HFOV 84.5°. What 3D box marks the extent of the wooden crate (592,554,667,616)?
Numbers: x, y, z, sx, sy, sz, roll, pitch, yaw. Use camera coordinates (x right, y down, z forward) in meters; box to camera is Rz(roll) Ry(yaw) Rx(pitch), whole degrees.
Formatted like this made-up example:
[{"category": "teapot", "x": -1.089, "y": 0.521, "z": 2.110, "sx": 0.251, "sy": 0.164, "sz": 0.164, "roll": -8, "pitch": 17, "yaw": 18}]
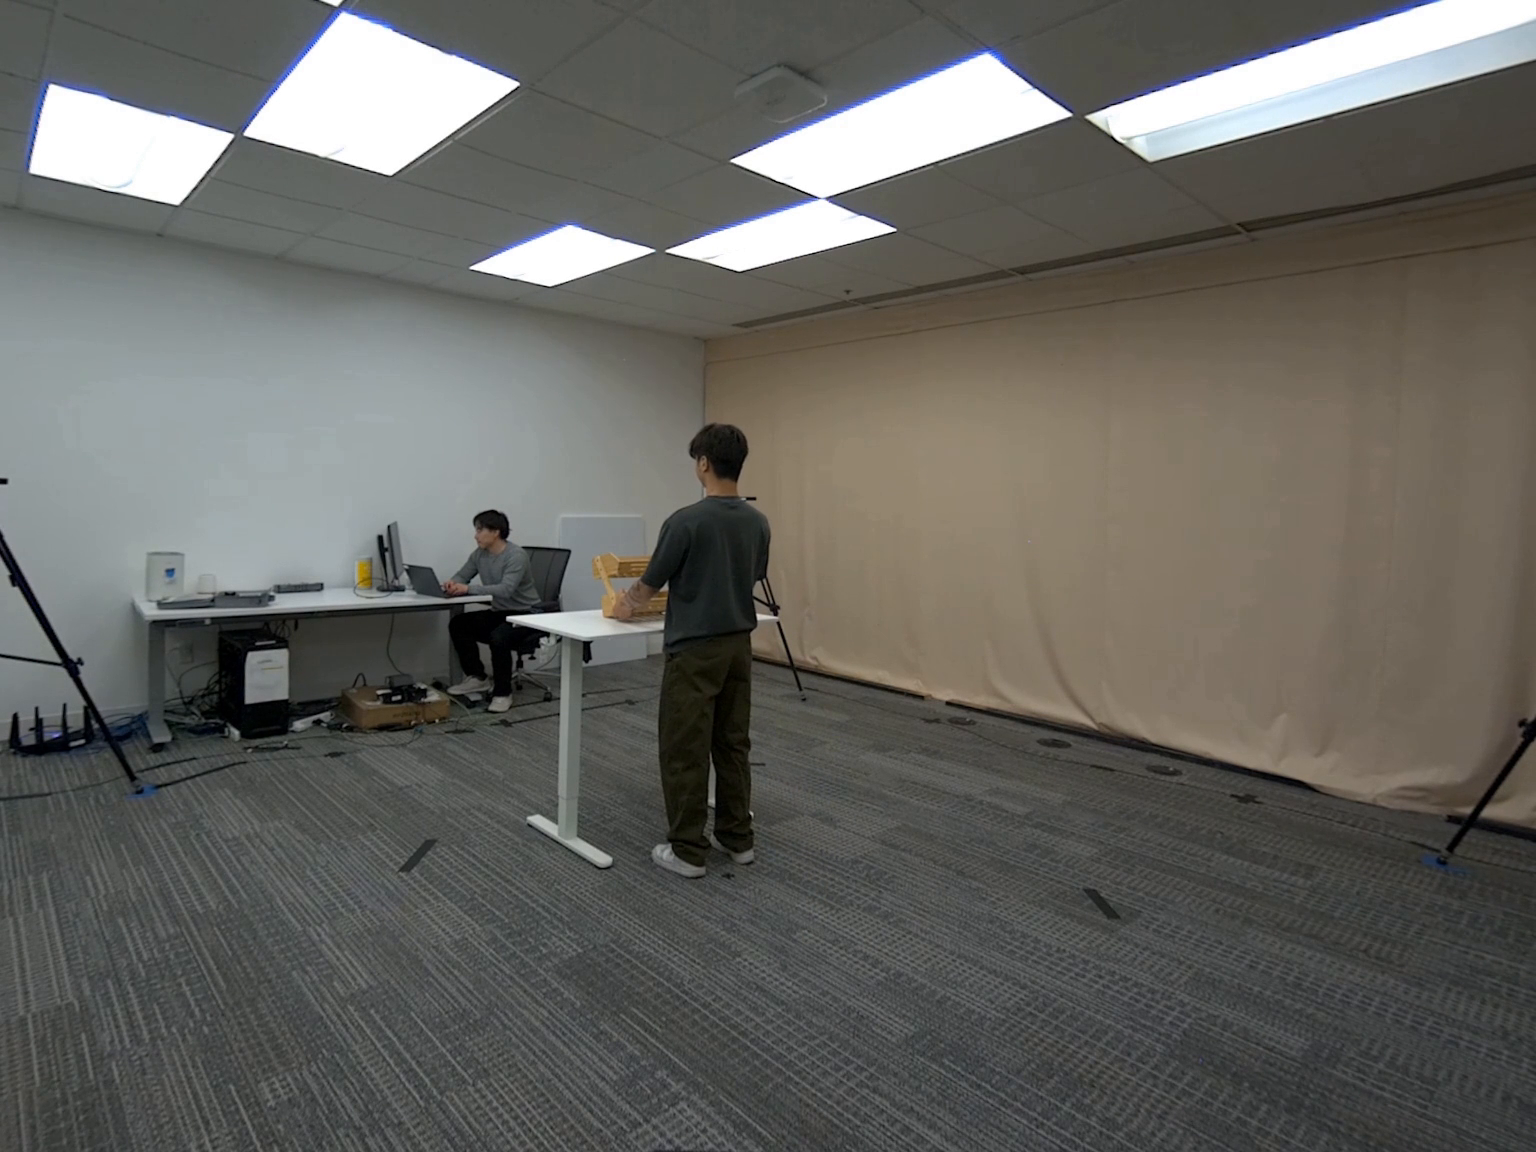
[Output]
[{"category": "wooden crate", "x": -0.539, "y": 0.025, "z": 3.570, "sx": 0.317, "sy": 0.275, "sz": 0.307, "roll": -1, "pitch": -7, "yaw": -41}]
